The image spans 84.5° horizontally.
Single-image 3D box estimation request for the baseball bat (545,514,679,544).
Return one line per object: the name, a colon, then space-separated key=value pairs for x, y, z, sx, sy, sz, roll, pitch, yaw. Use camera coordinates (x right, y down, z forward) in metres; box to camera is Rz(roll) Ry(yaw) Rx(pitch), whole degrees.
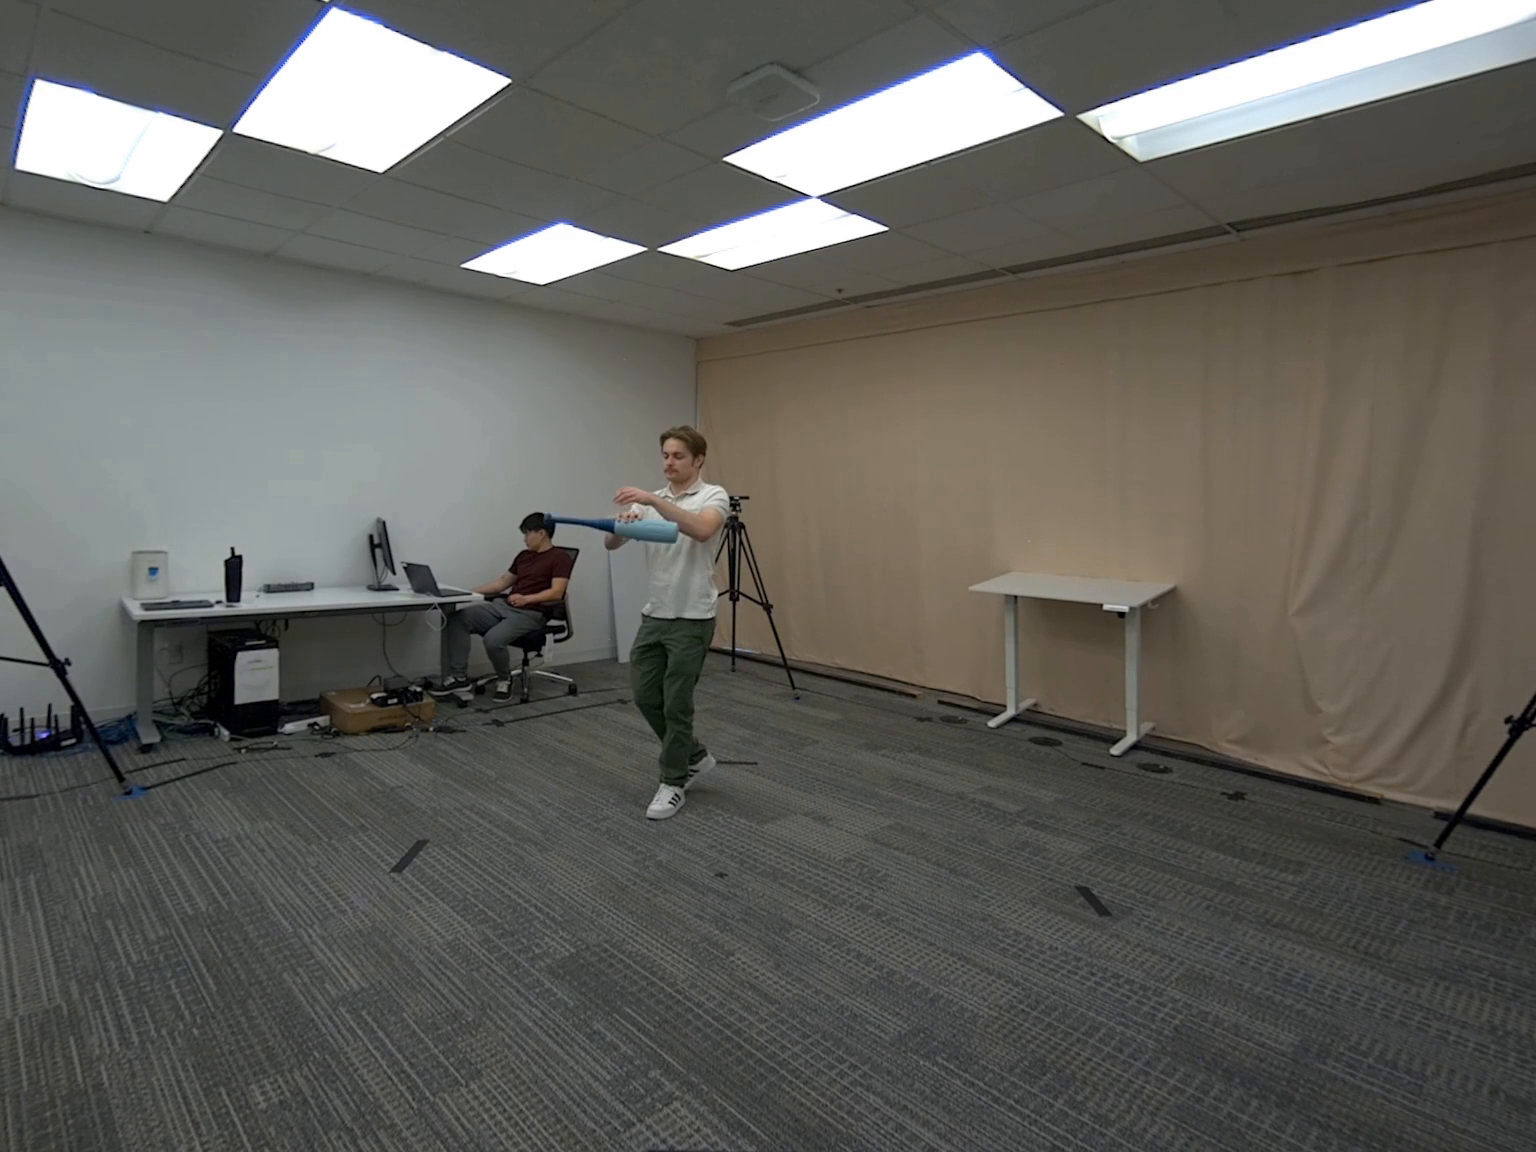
baseball bat: x=-0.644 y=-0.201 z=3.366 sx=0.546 sy=0.089 sz=0.089 roll=6 pitch=5 yaw=7
